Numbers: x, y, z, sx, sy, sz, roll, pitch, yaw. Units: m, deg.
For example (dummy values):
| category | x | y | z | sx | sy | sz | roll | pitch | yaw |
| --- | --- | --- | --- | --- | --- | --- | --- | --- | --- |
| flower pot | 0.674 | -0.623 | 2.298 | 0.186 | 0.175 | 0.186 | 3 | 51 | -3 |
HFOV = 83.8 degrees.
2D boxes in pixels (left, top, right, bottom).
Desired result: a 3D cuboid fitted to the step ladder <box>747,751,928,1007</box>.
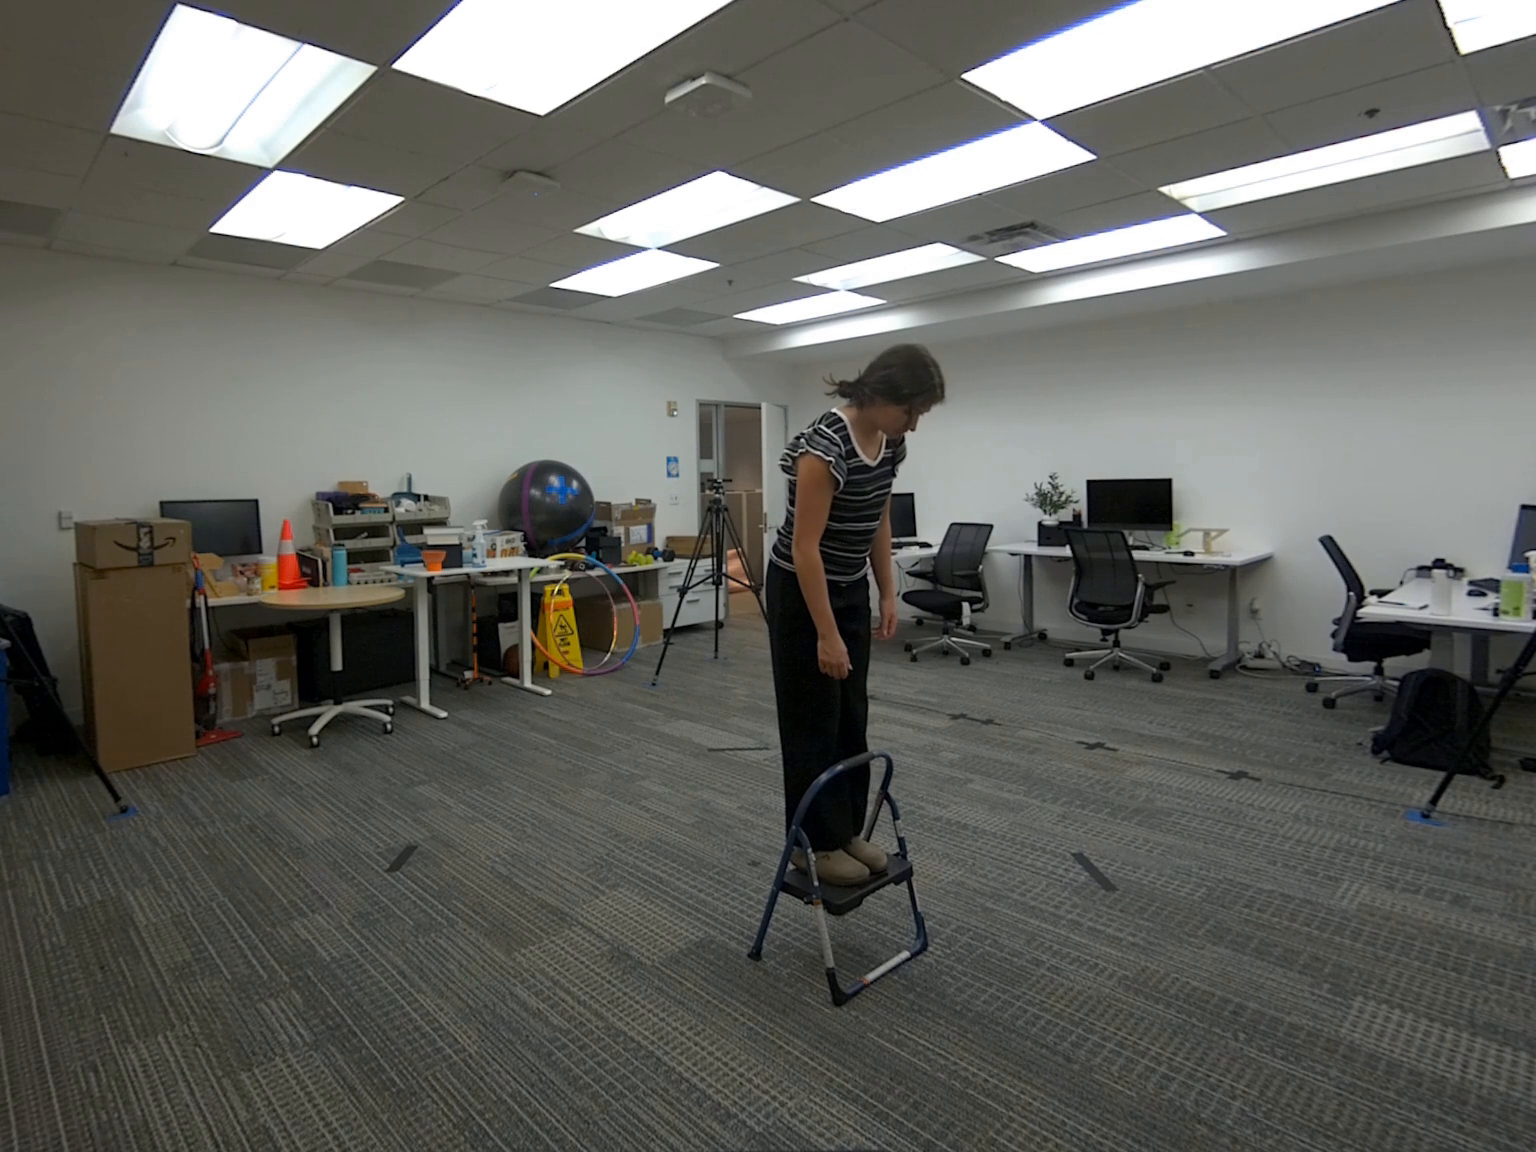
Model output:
| category | x | y | z | sx | sy | sz | roll | pitch | yaw |
| --- | --- | --- | --- | --- | --- | --- | --- | --- | --- |
| step ladder | 0.210 | 0.810 | 2.496 | 0.419 | 0.604 | 0.360 | -6 | 6 | -44 |
